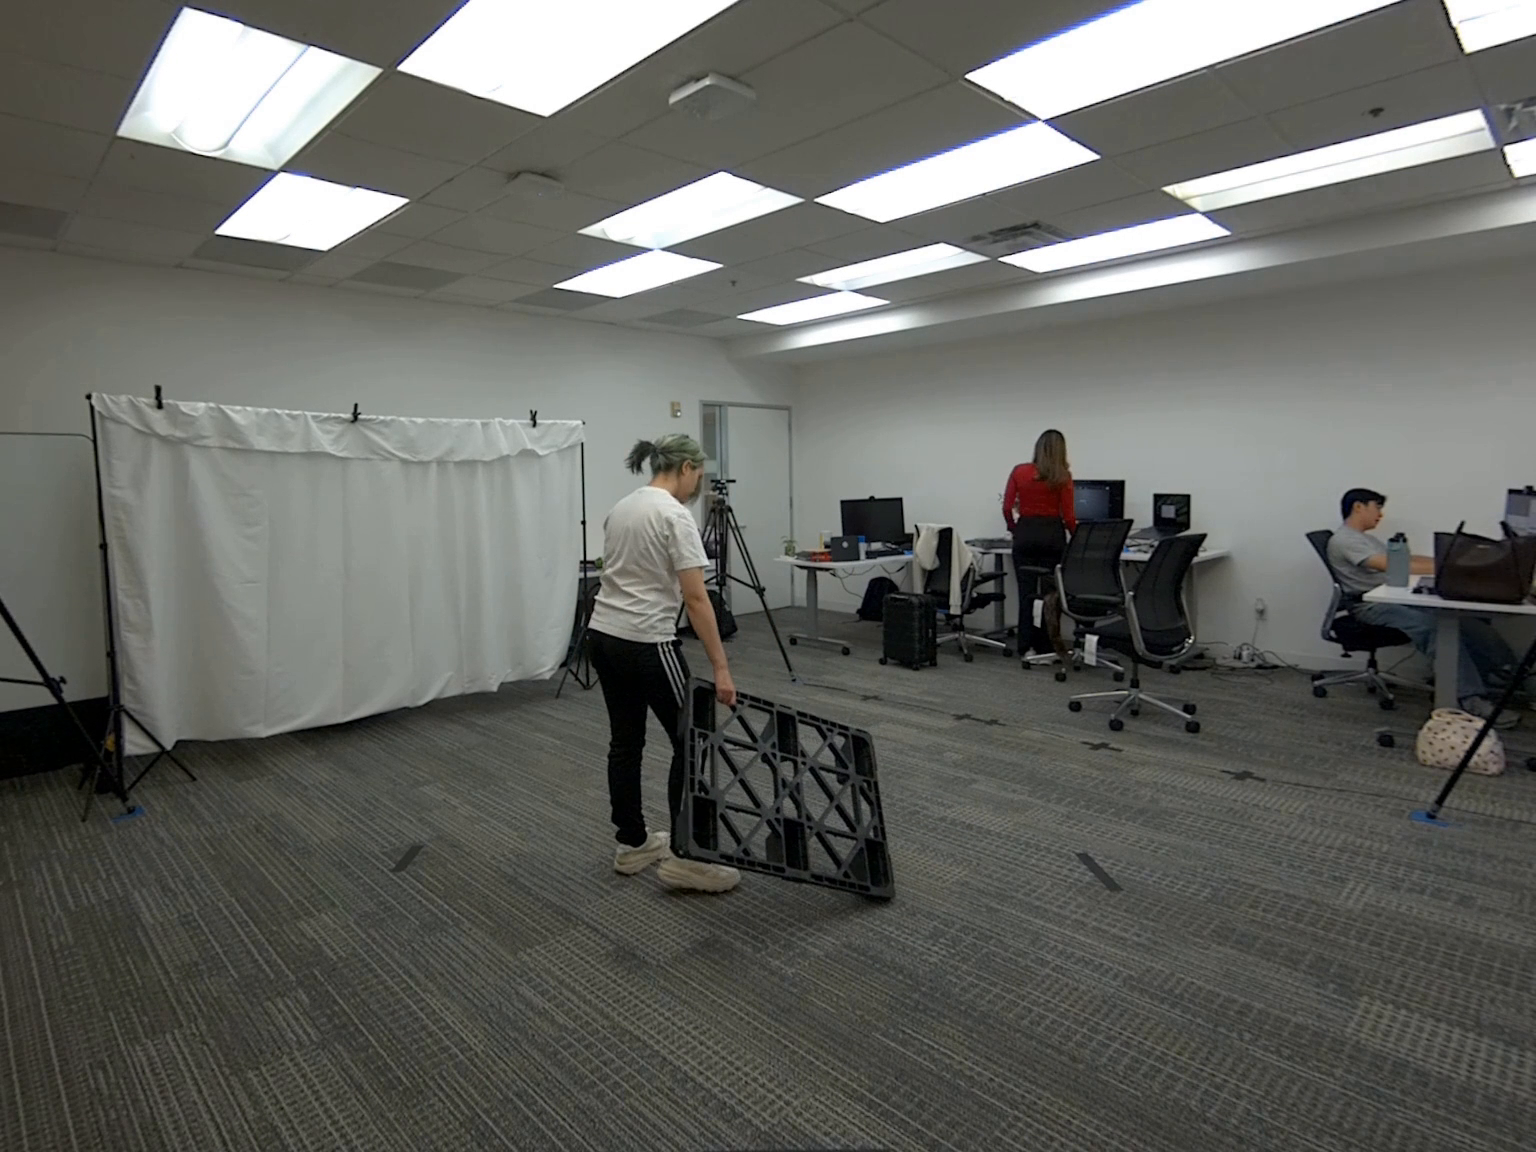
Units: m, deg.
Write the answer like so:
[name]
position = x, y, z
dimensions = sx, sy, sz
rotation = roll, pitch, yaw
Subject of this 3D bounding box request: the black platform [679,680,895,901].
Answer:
[black platform]
position = 0.047, 0.731, 2.858
dimensions = 0.783, 0.622, 0.143
rotation = 21, -44, -25
